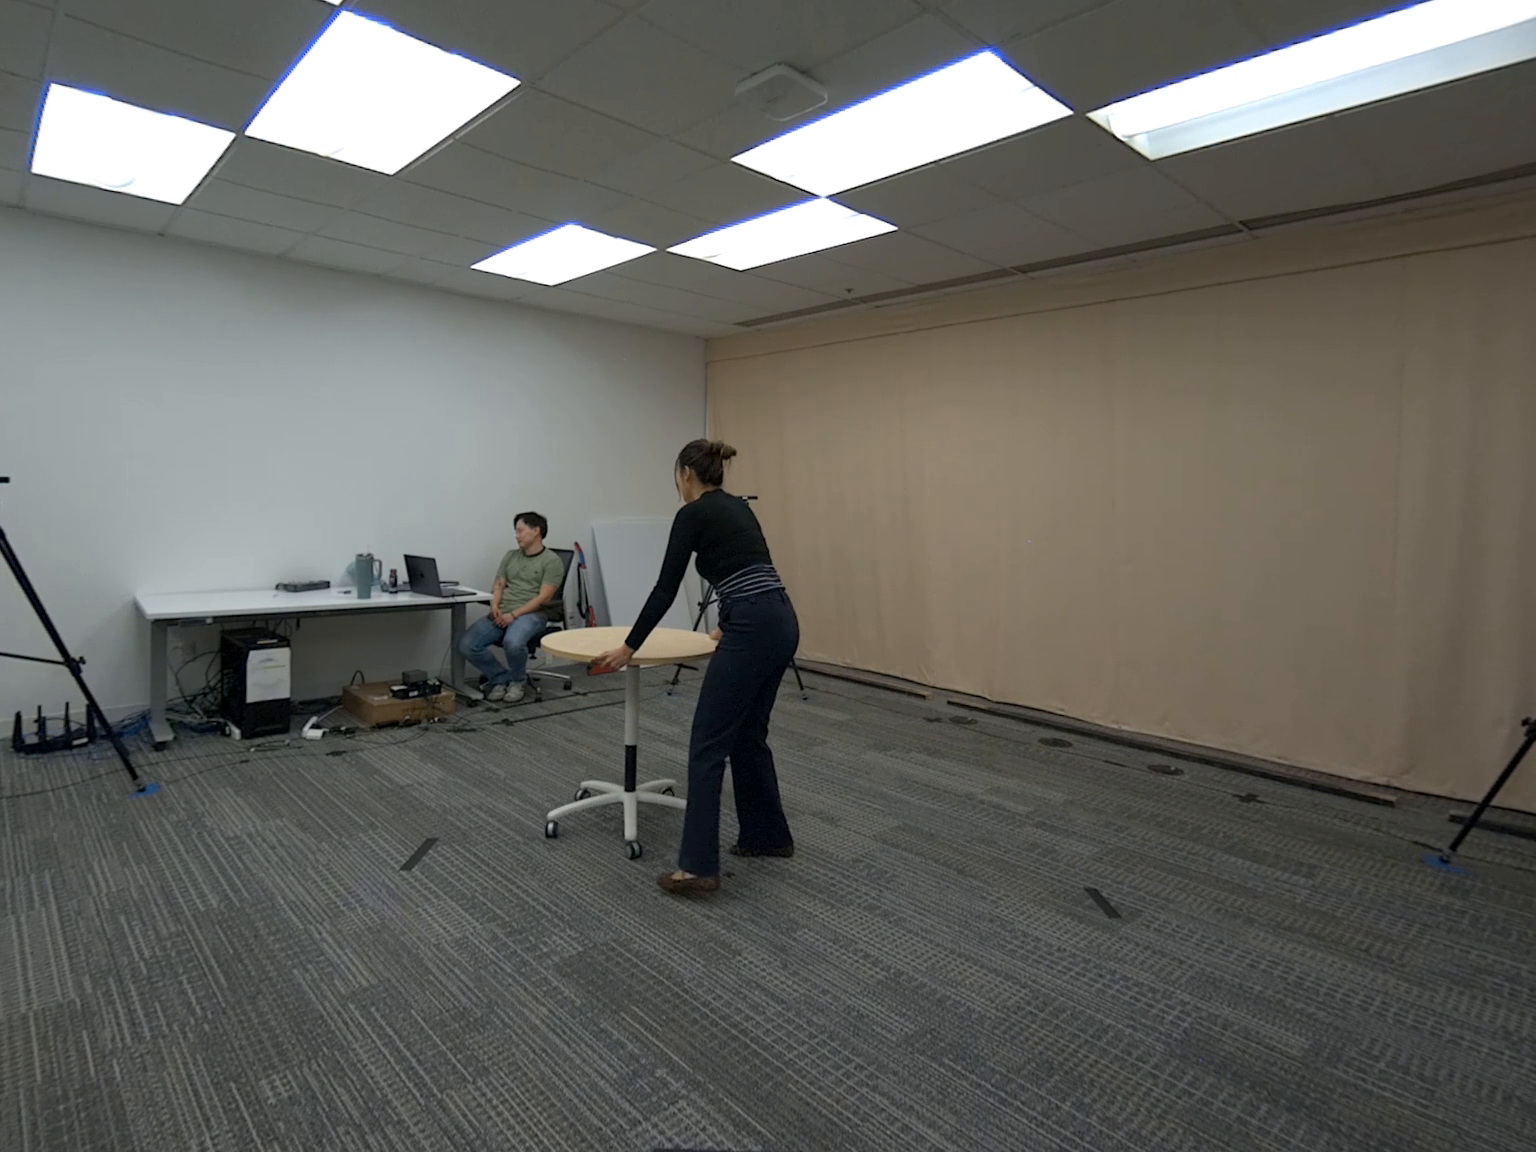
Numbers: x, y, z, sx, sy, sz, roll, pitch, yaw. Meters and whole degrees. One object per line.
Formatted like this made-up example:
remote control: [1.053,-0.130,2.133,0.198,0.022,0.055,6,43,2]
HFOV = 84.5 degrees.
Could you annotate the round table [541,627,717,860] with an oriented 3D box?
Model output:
round table: [-0.581,0.665,3.546,0.763,0.792,0.766,2,4,-1]
